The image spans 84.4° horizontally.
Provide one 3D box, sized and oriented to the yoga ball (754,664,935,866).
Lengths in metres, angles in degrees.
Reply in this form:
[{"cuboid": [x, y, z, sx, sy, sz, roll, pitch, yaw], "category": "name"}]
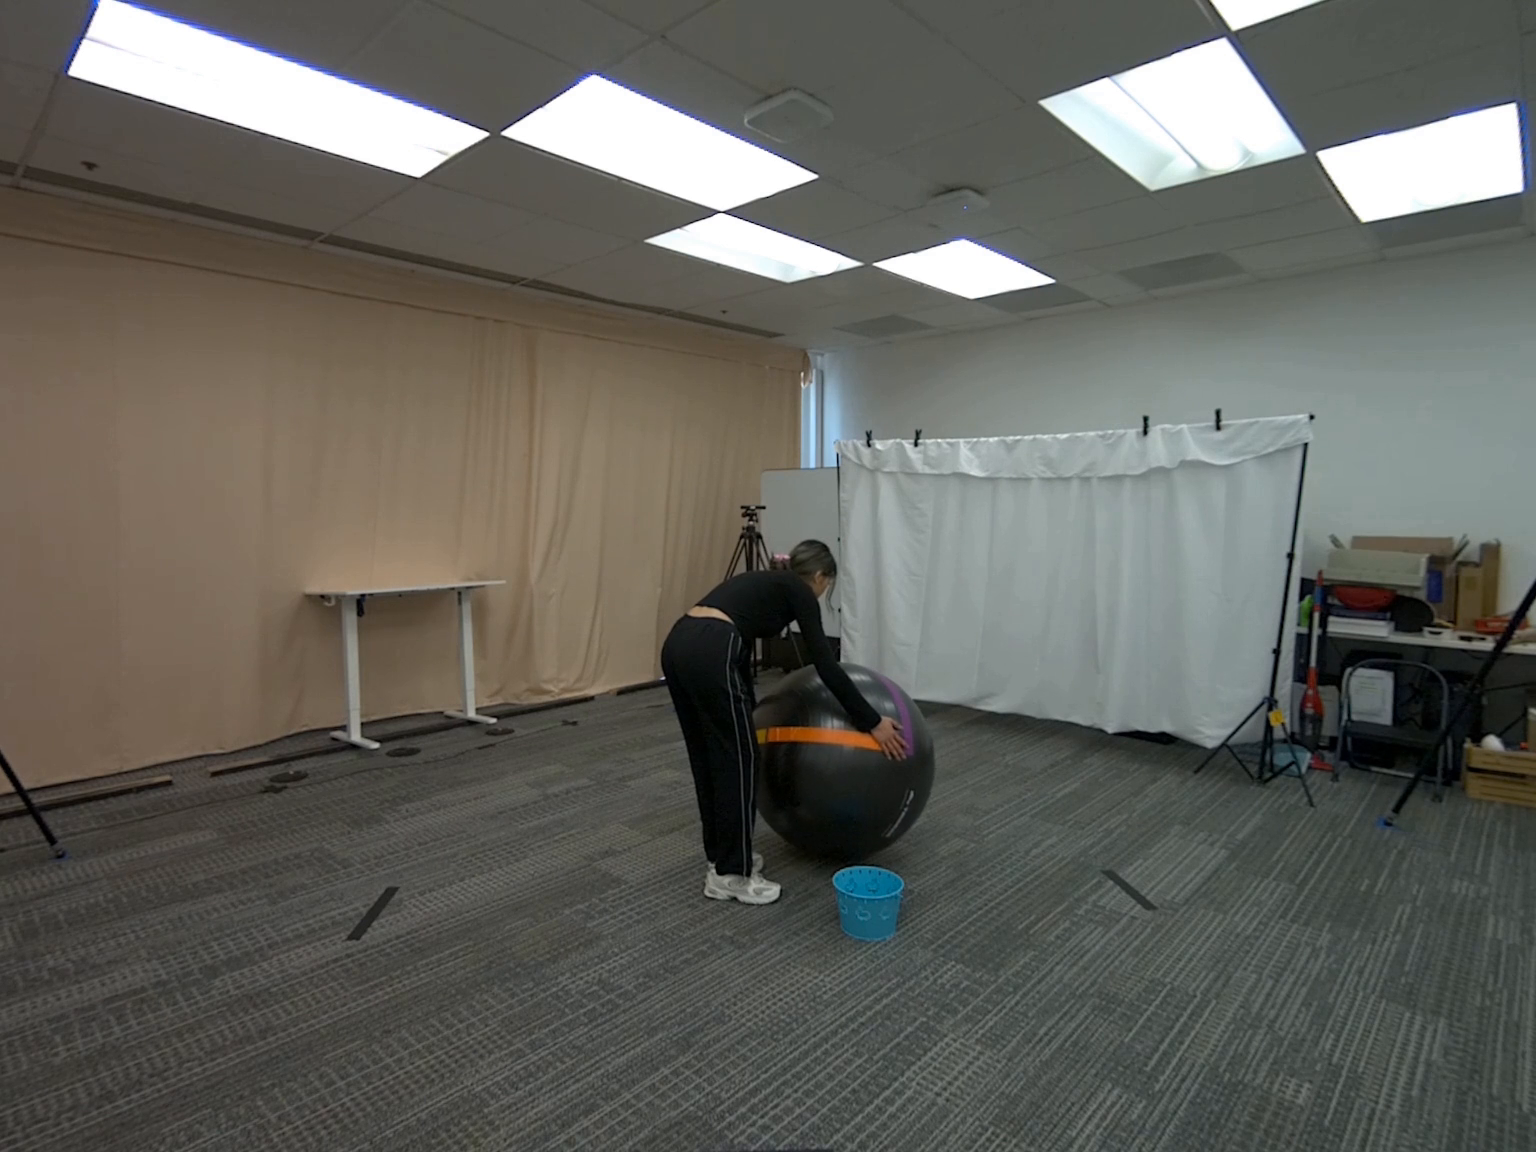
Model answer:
[{"cuboid": [0.281, 0.721, 3.372, 0.757, 0.756, 0.760, 0, 4, -2], "category": "yoga ball"}]
